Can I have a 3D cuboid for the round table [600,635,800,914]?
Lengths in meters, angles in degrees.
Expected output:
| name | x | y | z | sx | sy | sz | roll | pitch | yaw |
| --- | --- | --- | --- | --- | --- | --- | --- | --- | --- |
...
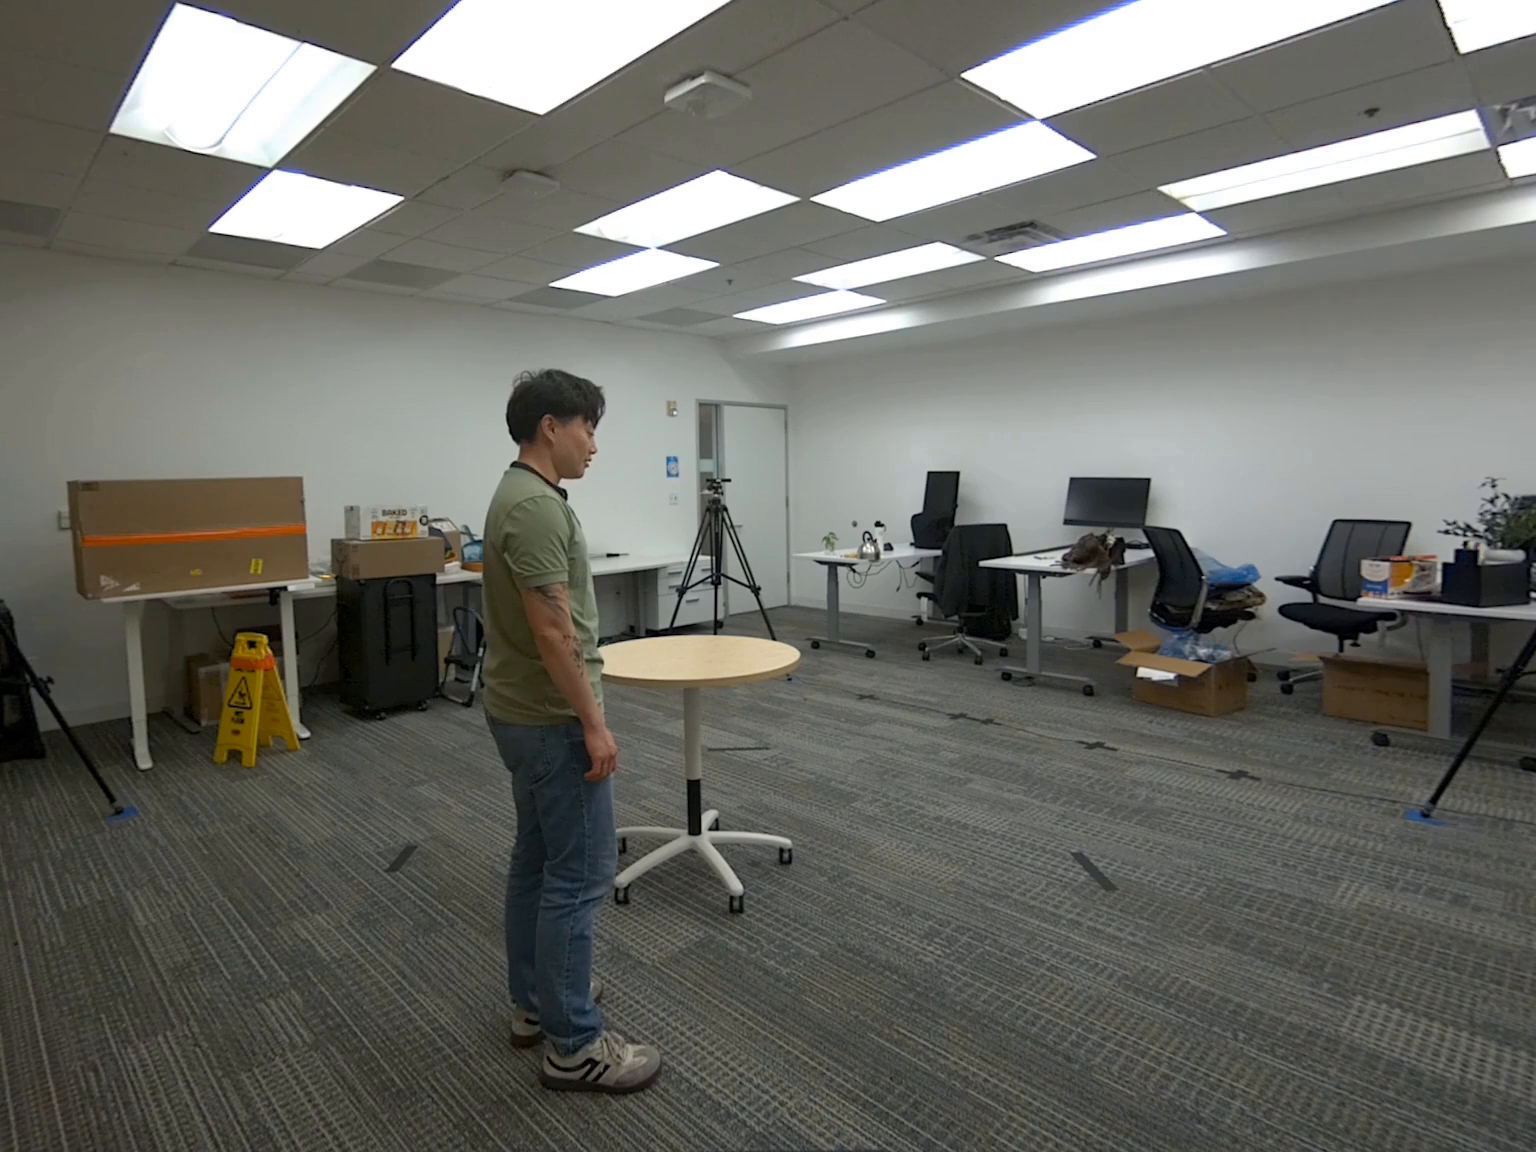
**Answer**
| name | x | y | z | sx | sy | sz | roll | pitch | yaw |
| --- | --- | --- | --- | --- | --- | --- | --- | --- | --- |
| round table | -0.261 | 0.669 | 3.023 | 0.763 | 0.791 | 0.768 | -1 | 5 | -2 |
